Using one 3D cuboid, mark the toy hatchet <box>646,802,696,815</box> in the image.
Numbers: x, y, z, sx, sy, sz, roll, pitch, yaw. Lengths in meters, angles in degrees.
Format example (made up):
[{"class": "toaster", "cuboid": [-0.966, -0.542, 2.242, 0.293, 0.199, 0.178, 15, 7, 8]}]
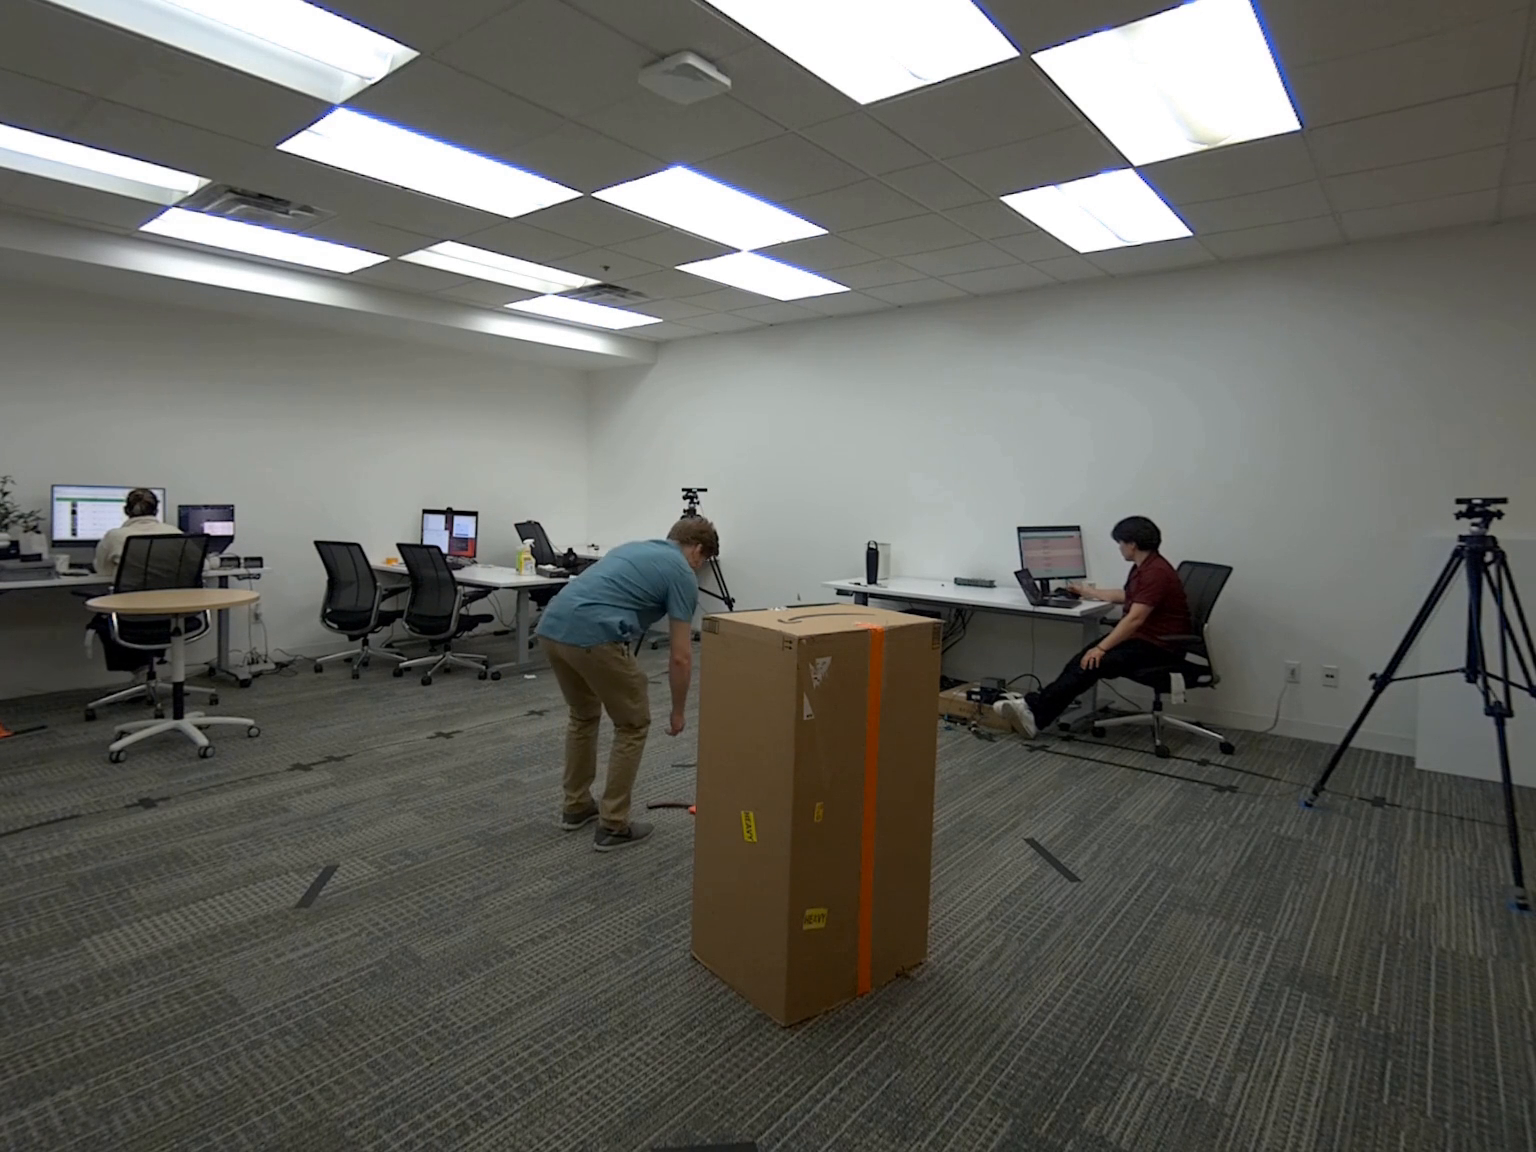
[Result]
[{"class": "toy hatchet", "cuboid": [-0.402, 1.000, 3.679, 0.267, 0.029, 0.133, -3, 10, -10]}]
